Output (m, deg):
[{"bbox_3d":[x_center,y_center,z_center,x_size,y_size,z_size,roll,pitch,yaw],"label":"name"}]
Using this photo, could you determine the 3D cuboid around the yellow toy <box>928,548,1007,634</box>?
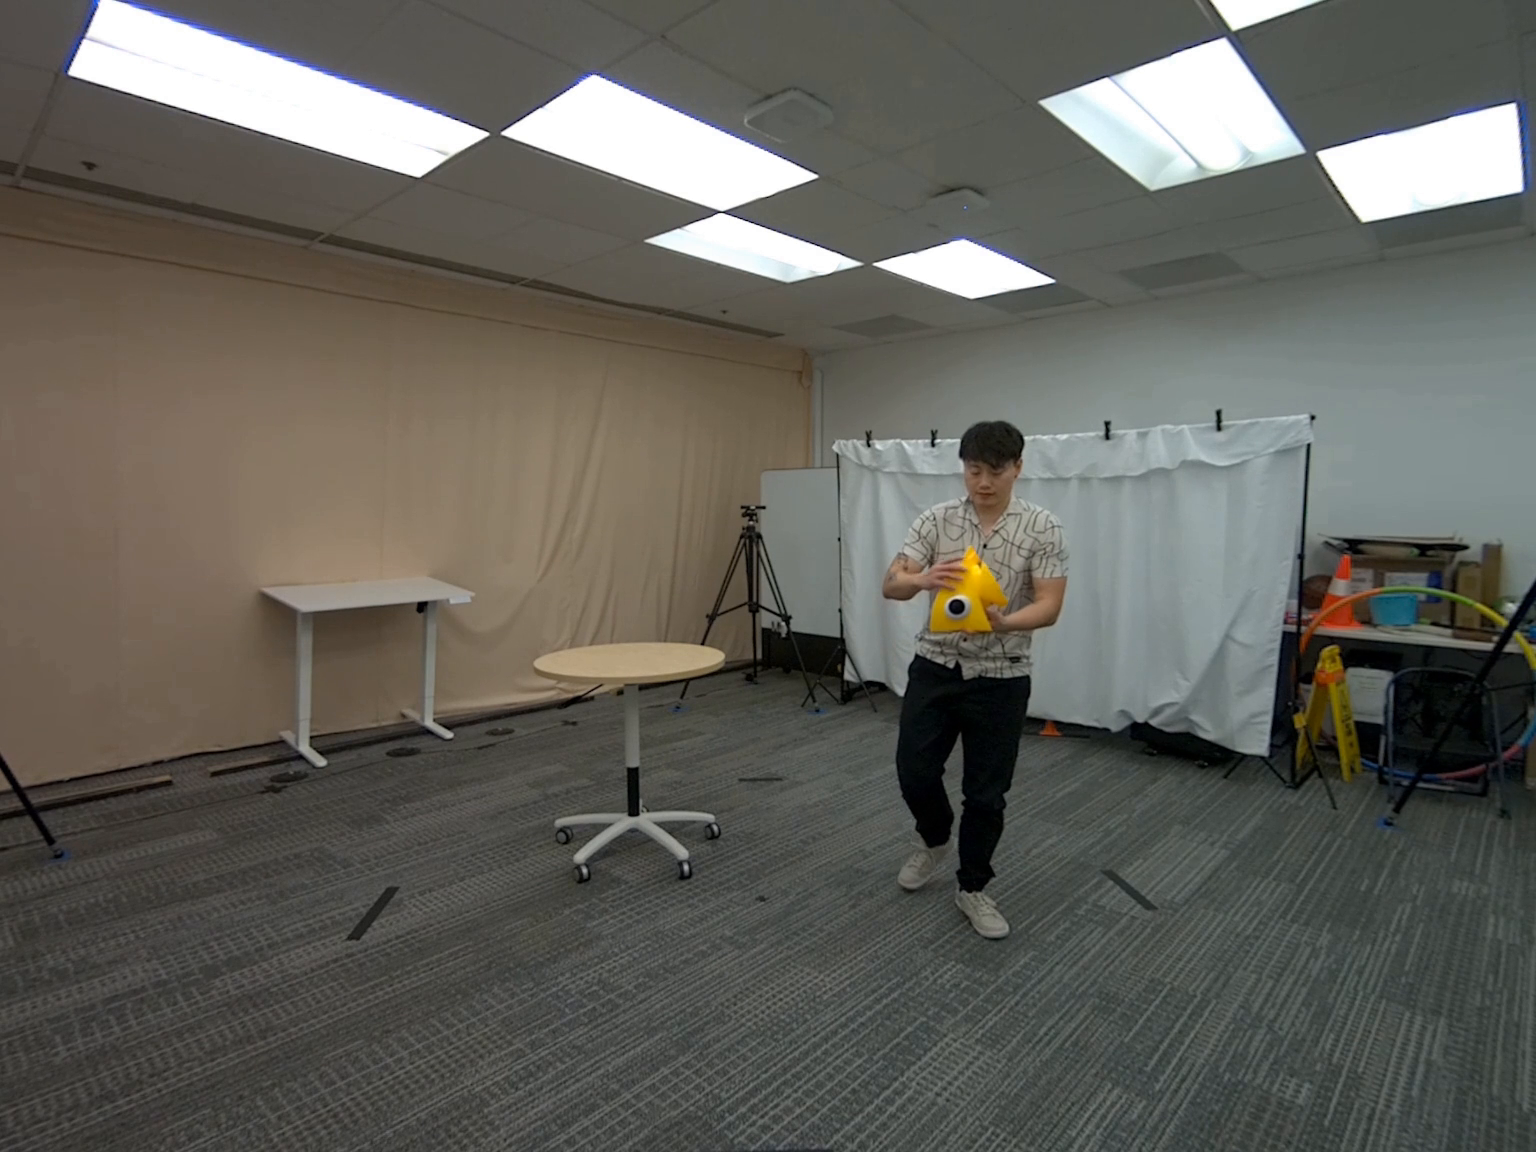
[{"bbox_3d":[0.564,0.063,2.486,0.232,0.189,0.208,-30,23,10],"label":"yellow toy"}]
